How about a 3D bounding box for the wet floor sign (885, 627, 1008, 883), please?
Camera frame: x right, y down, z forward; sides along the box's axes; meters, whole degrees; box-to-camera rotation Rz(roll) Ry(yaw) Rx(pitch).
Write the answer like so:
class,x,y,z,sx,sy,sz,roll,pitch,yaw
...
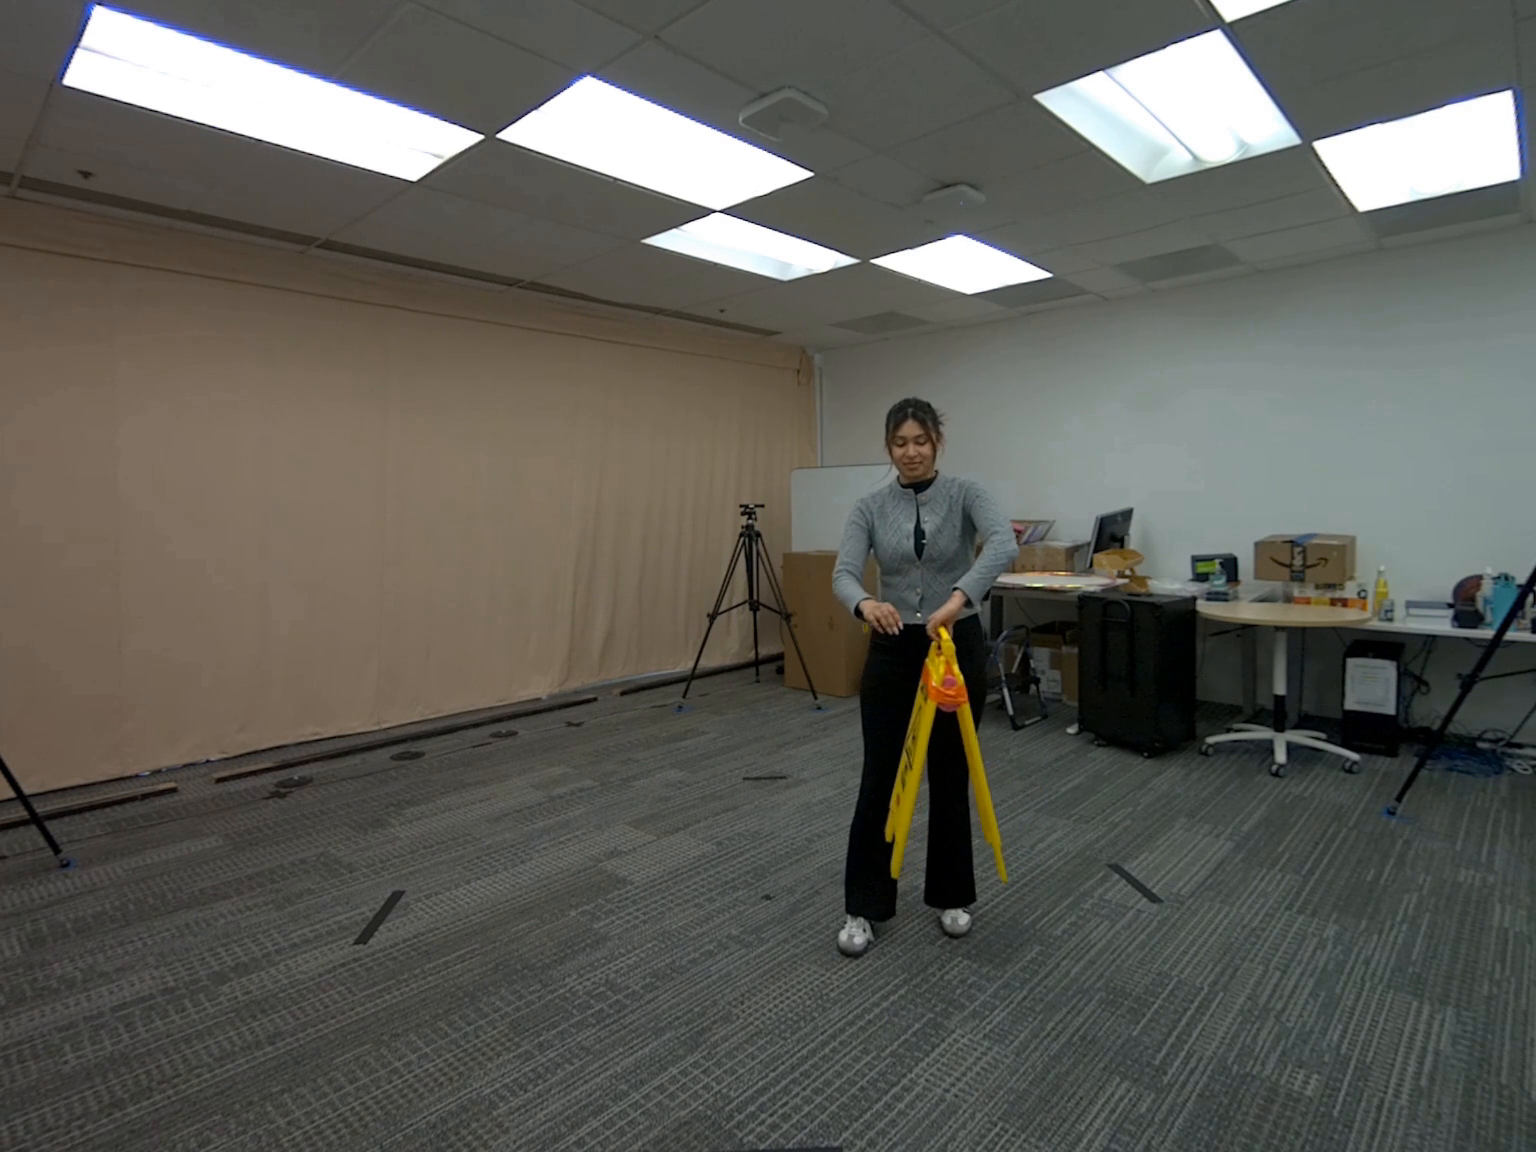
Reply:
class,x,y,z,sx,sy,sz,roll,pitch,yaw
wet floor sign,0.480,0.460,2.294,0.292,0.643,0.282,0,8,6
